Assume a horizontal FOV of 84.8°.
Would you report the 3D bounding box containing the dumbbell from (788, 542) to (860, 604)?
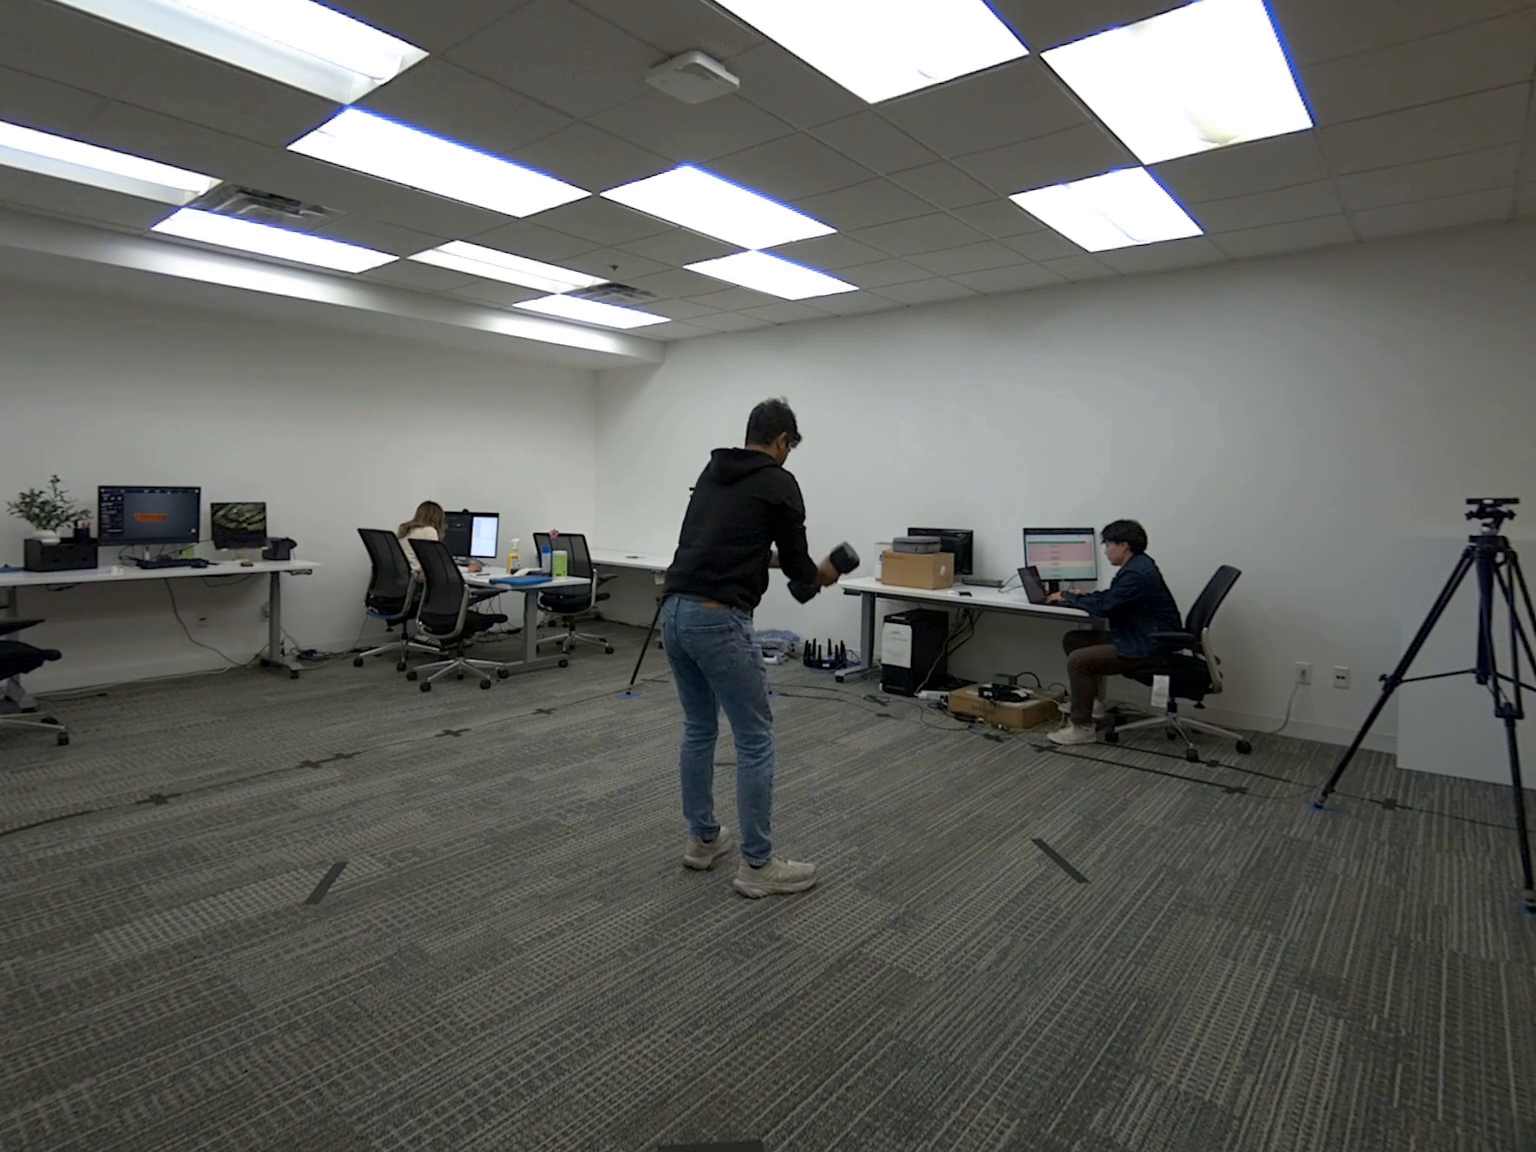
[{"bbox_3d":[0.208,-0.013,3.352,0.295,0.127,0.104,-37,-32,14],"label":"dumbbell"}]
